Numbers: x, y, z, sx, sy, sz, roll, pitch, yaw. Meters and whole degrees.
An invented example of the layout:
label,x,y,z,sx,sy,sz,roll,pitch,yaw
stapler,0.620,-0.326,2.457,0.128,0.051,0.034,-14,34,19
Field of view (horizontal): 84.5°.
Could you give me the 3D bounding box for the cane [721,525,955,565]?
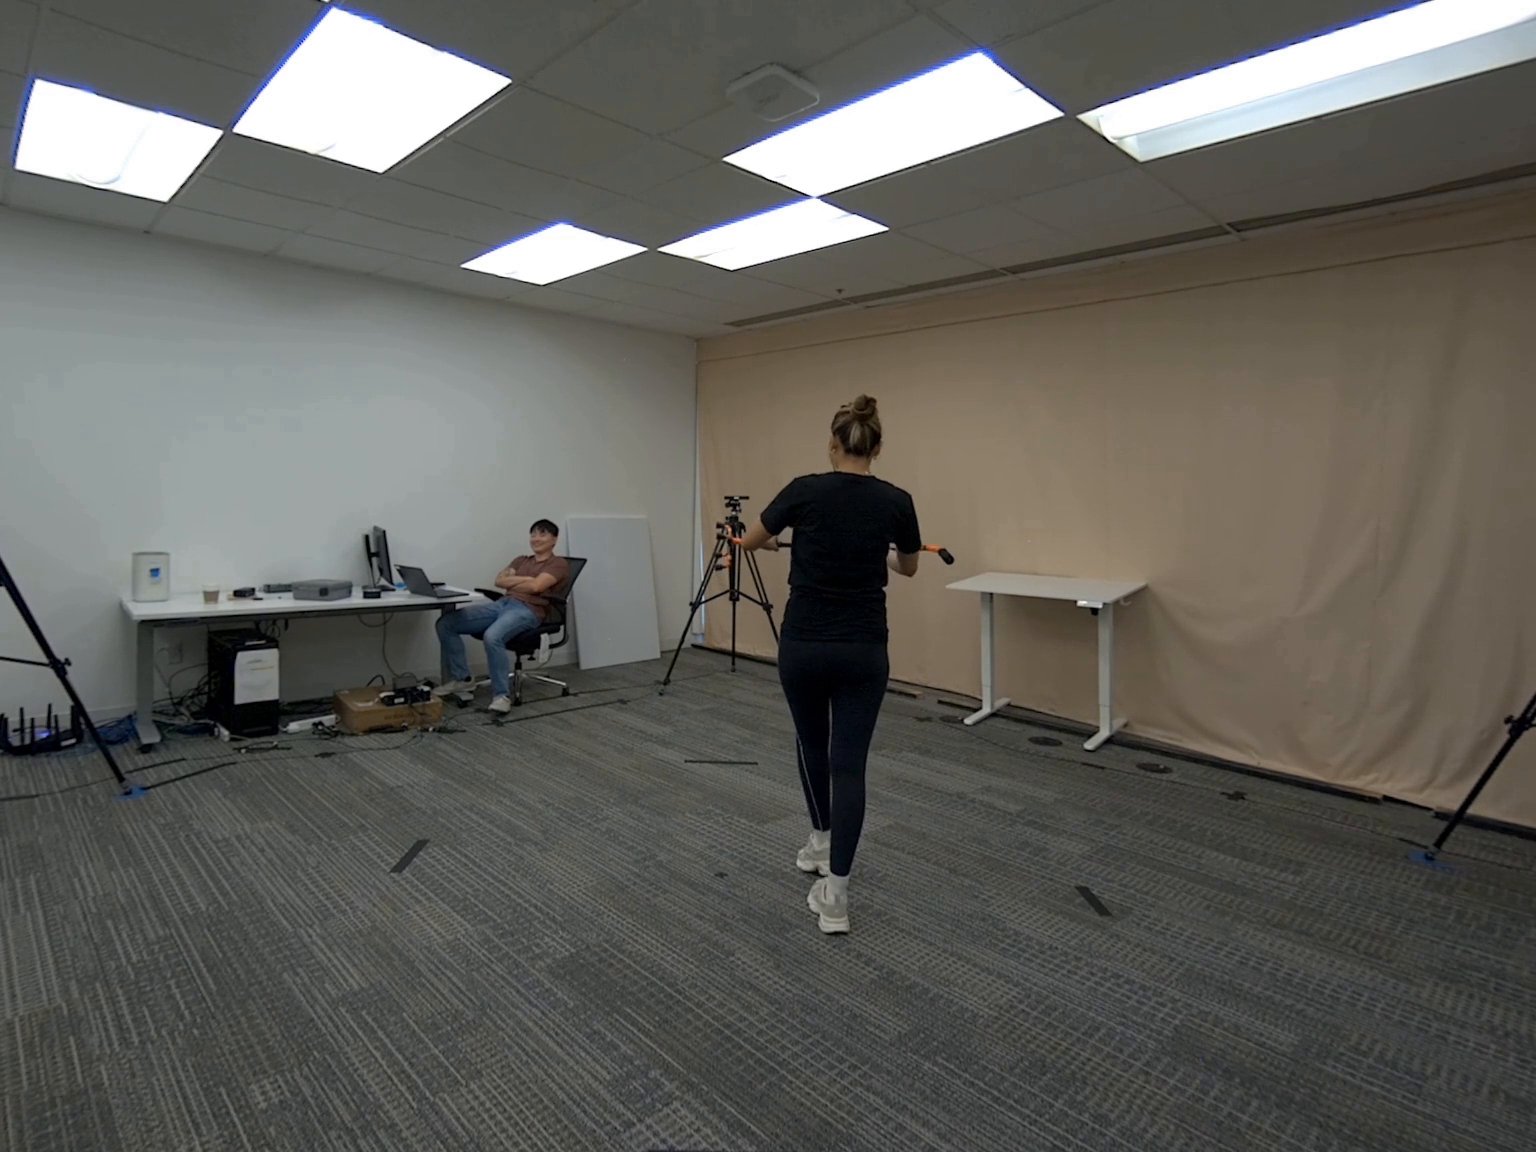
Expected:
label,x,y,z,sx,sy,sz,roll,pitch,yaw
cane,0.253,-0.089,3.266,0.909,0.150,0.208,3,18,2
